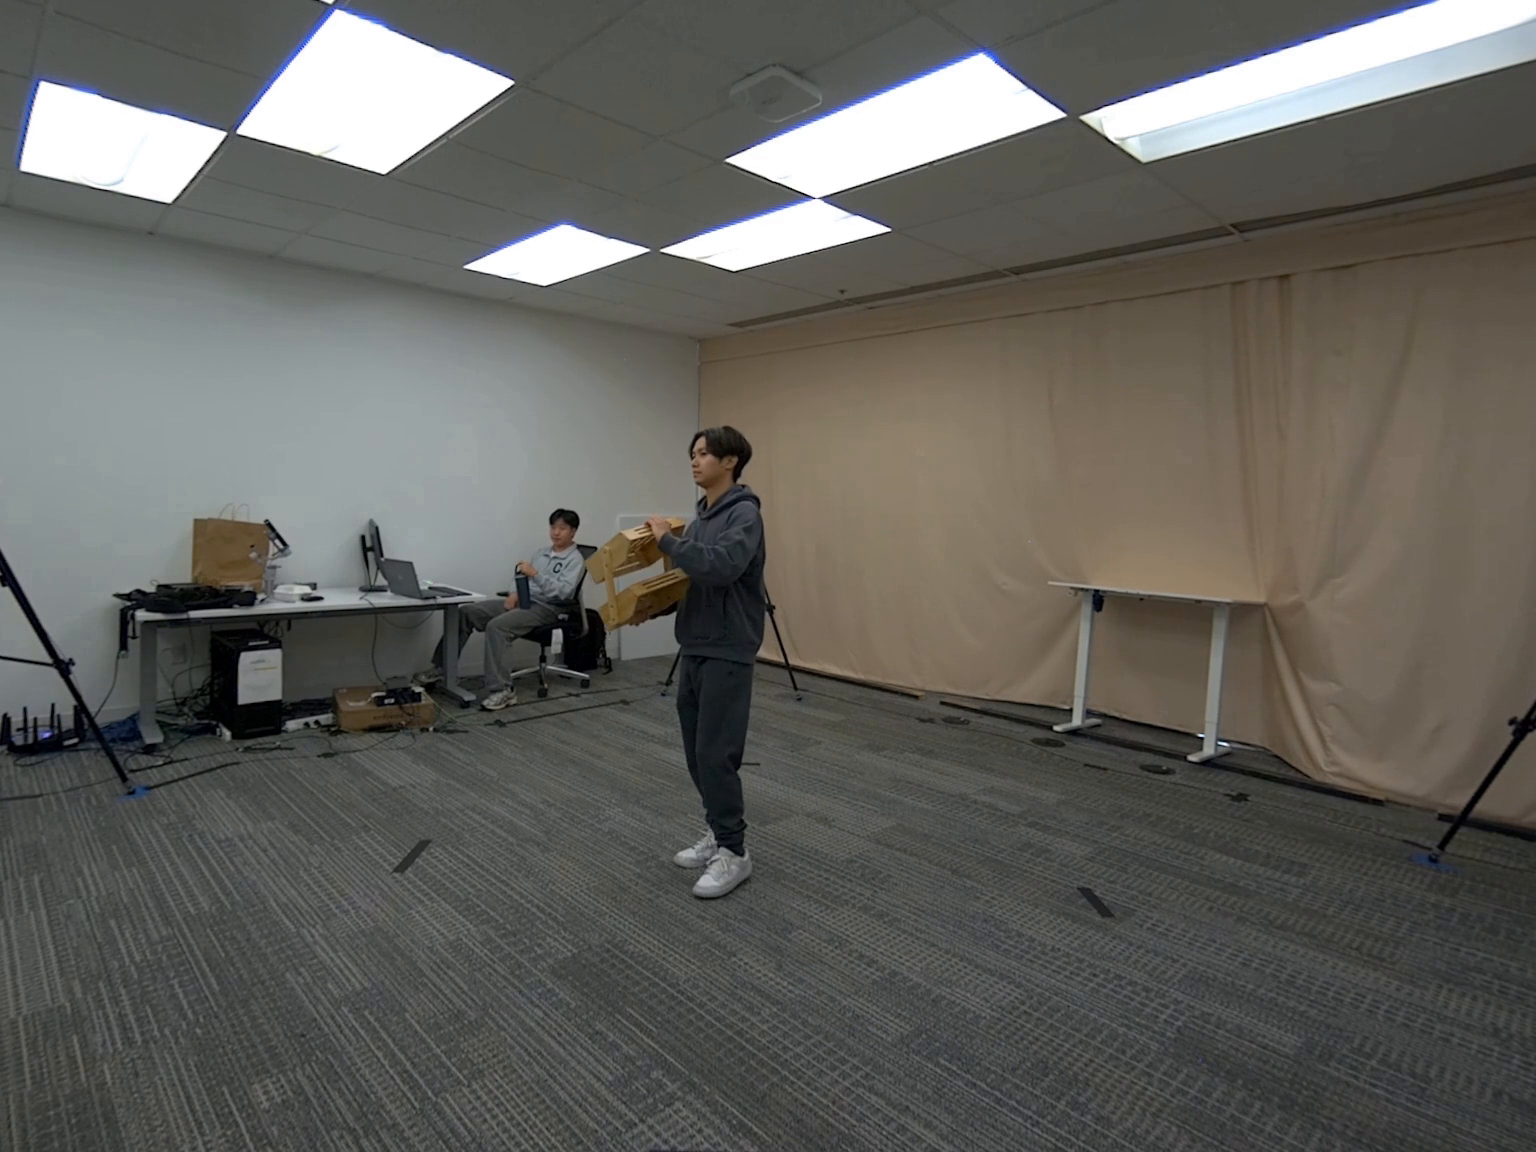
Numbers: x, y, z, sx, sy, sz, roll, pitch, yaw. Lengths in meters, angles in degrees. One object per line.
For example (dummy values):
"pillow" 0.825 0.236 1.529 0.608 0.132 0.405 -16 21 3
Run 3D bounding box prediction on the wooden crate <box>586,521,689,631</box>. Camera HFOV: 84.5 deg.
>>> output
"wooden crate" -0.441 -0.010 3.033 0.304 0.275 0.320 -33 -8 38
